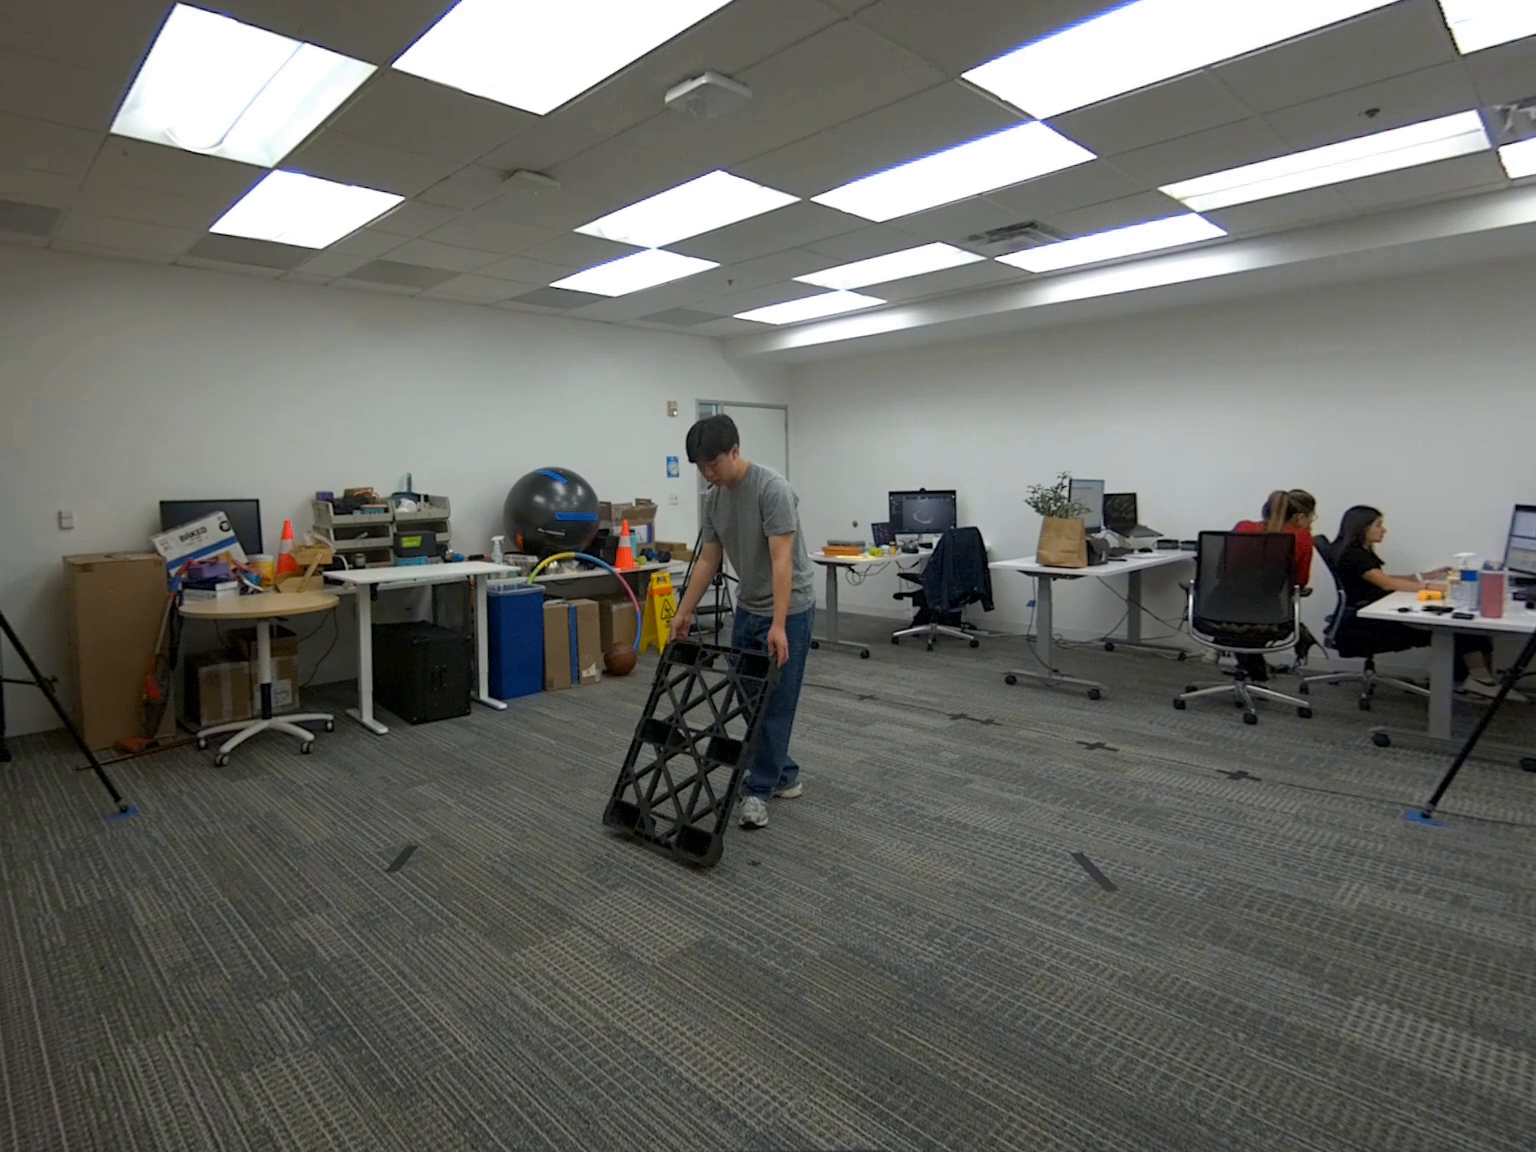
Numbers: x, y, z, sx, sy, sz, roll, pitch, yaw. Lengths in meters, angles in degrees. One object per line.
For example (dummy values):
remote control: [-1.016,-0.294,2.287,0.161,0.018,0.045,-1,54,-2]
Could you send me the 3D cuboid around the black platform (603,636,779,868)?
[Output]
black platform: [-0.282,0.666,3.367,0.623,0.813,0.138,2,-24,42]
